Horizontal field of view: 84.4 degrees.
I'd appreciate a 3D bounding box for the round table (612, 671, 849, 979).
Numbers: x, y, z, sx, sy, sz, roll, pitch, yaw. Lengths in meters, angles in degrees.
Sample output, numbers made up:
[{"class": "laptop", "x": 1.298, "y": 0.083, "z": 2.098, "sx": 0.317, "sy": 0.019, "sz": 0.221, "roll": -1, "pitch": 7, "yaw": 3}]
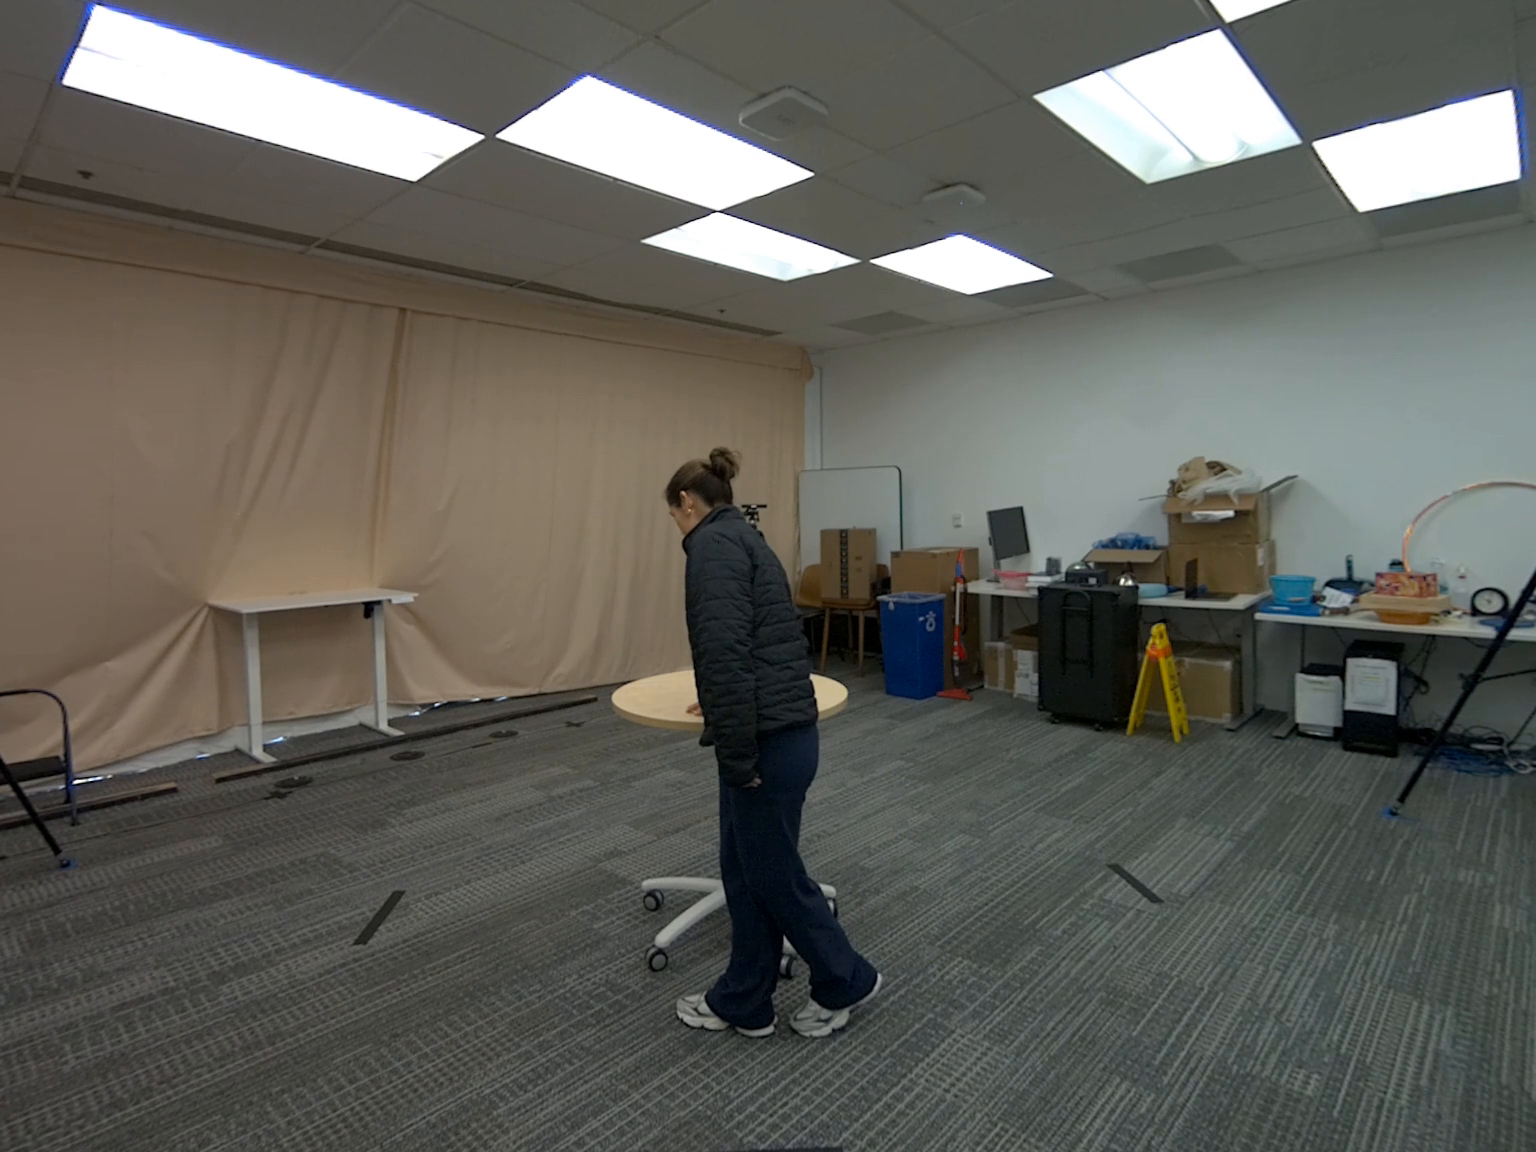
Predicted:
[{"class": "round table", "x": -0.110, "y": 0.766, "z": 2.784, "sx": 0.784, "sy": 0.784, "sz": 0.788, "roll": -1, "pitch": 4, "yaw": -2}]
